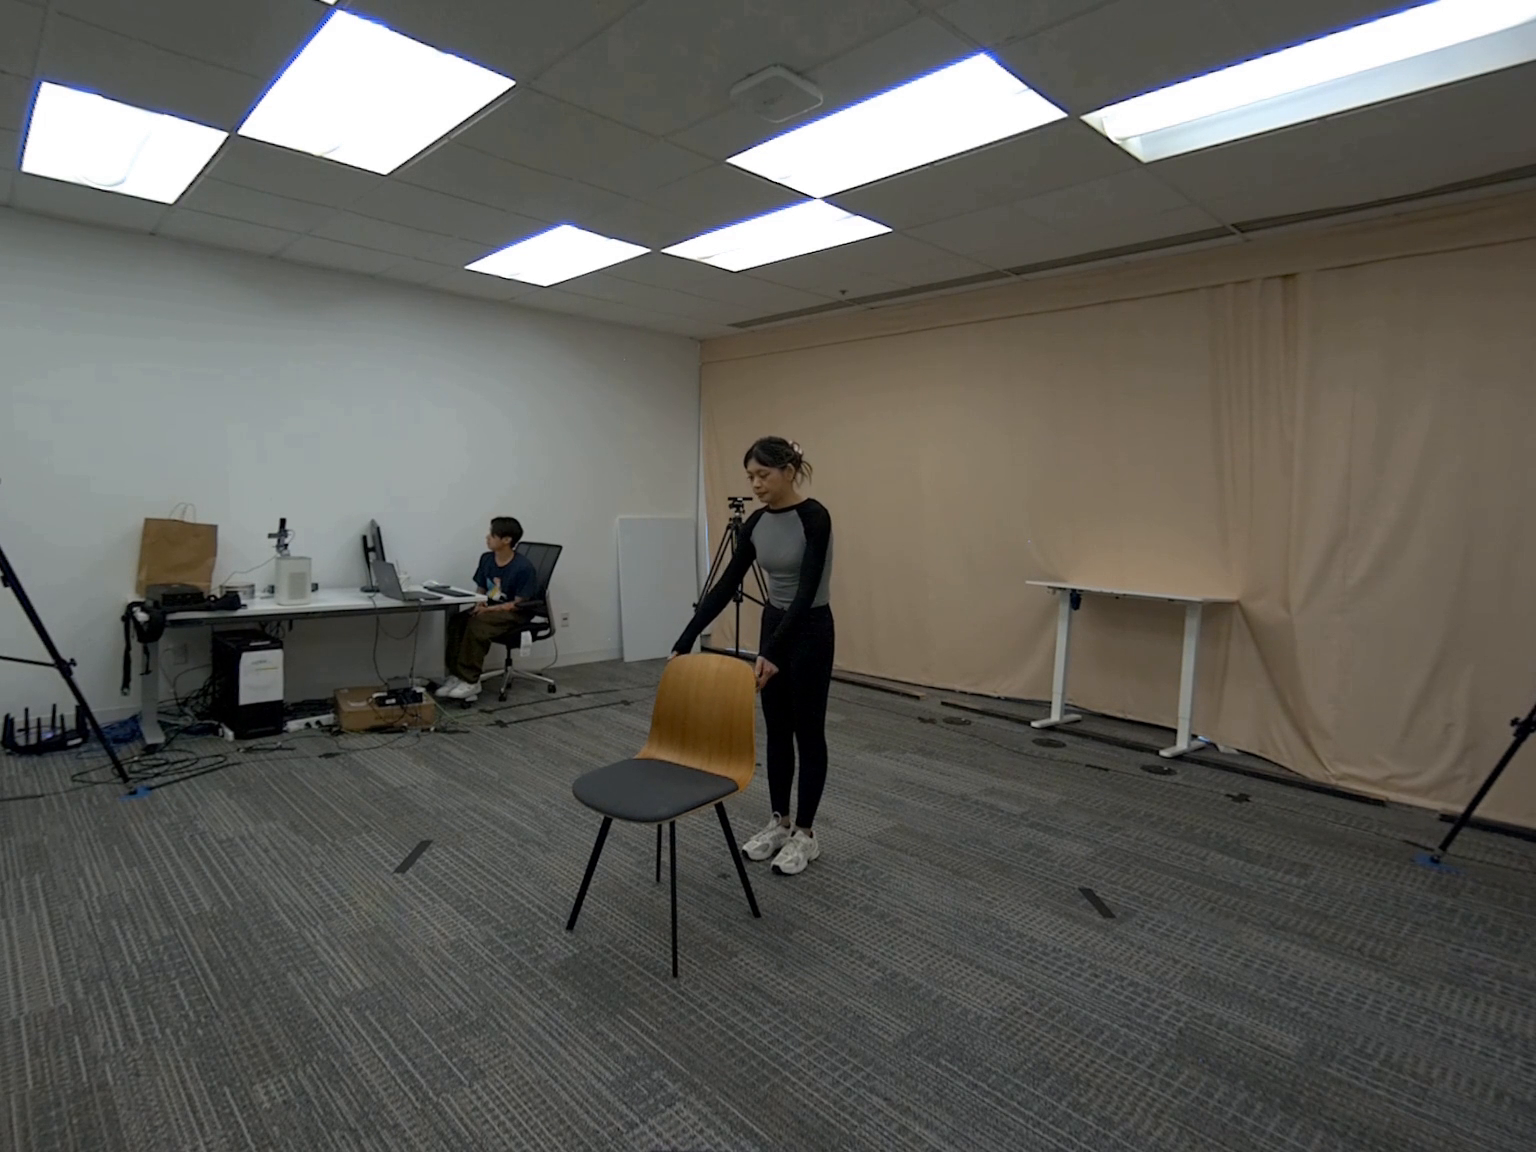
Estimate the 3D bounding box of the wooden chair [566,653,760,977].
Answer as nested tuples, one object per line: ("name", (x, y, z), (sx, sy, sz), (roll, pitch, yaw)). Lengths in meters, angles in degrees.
("wooden chair", (-0.326, 0.710, 2.707), (0.489, 0.878, 0.510), (4, 0, 34))
